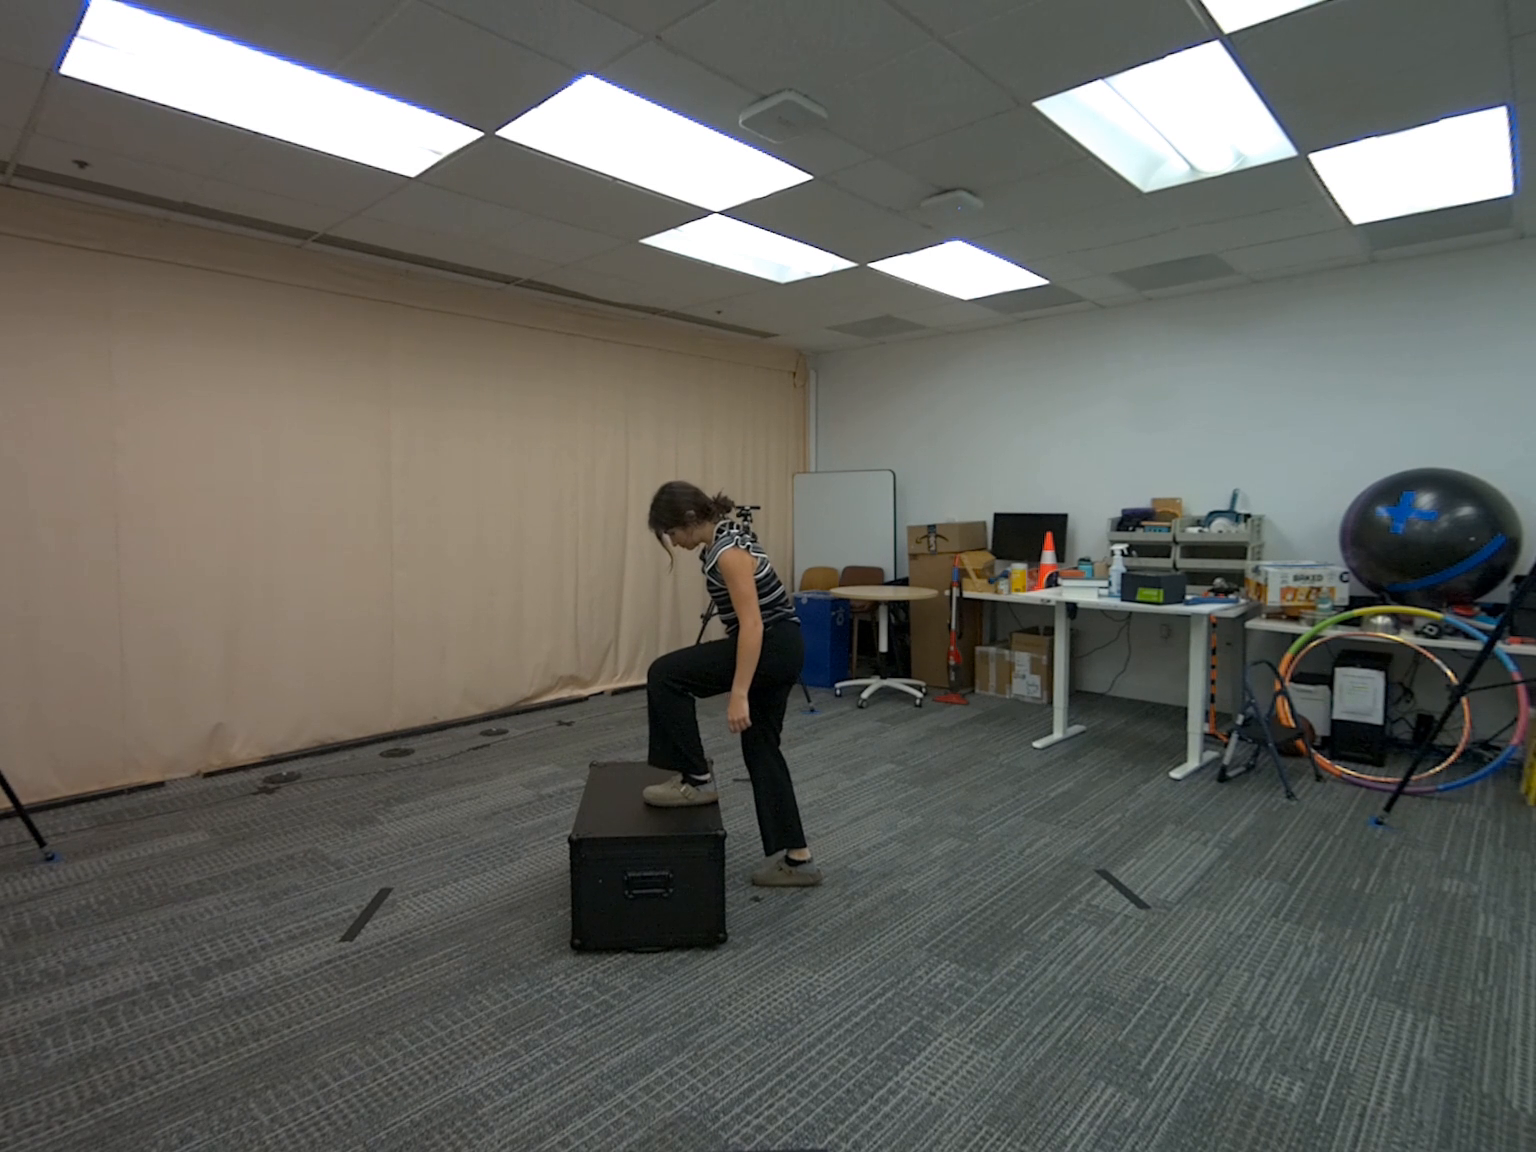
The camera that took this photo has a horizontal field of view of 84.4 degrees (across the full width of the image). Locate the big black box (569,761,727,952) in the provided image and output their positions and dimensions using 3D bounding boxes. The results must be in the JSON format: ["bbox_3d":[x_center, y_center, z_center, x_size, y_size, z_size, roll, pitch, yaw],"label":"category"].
[{"bbox_3d":[-0.420,0.950,3.025,0.518,0.395,0.869,0,5,-7],"label":"big black box"}]
